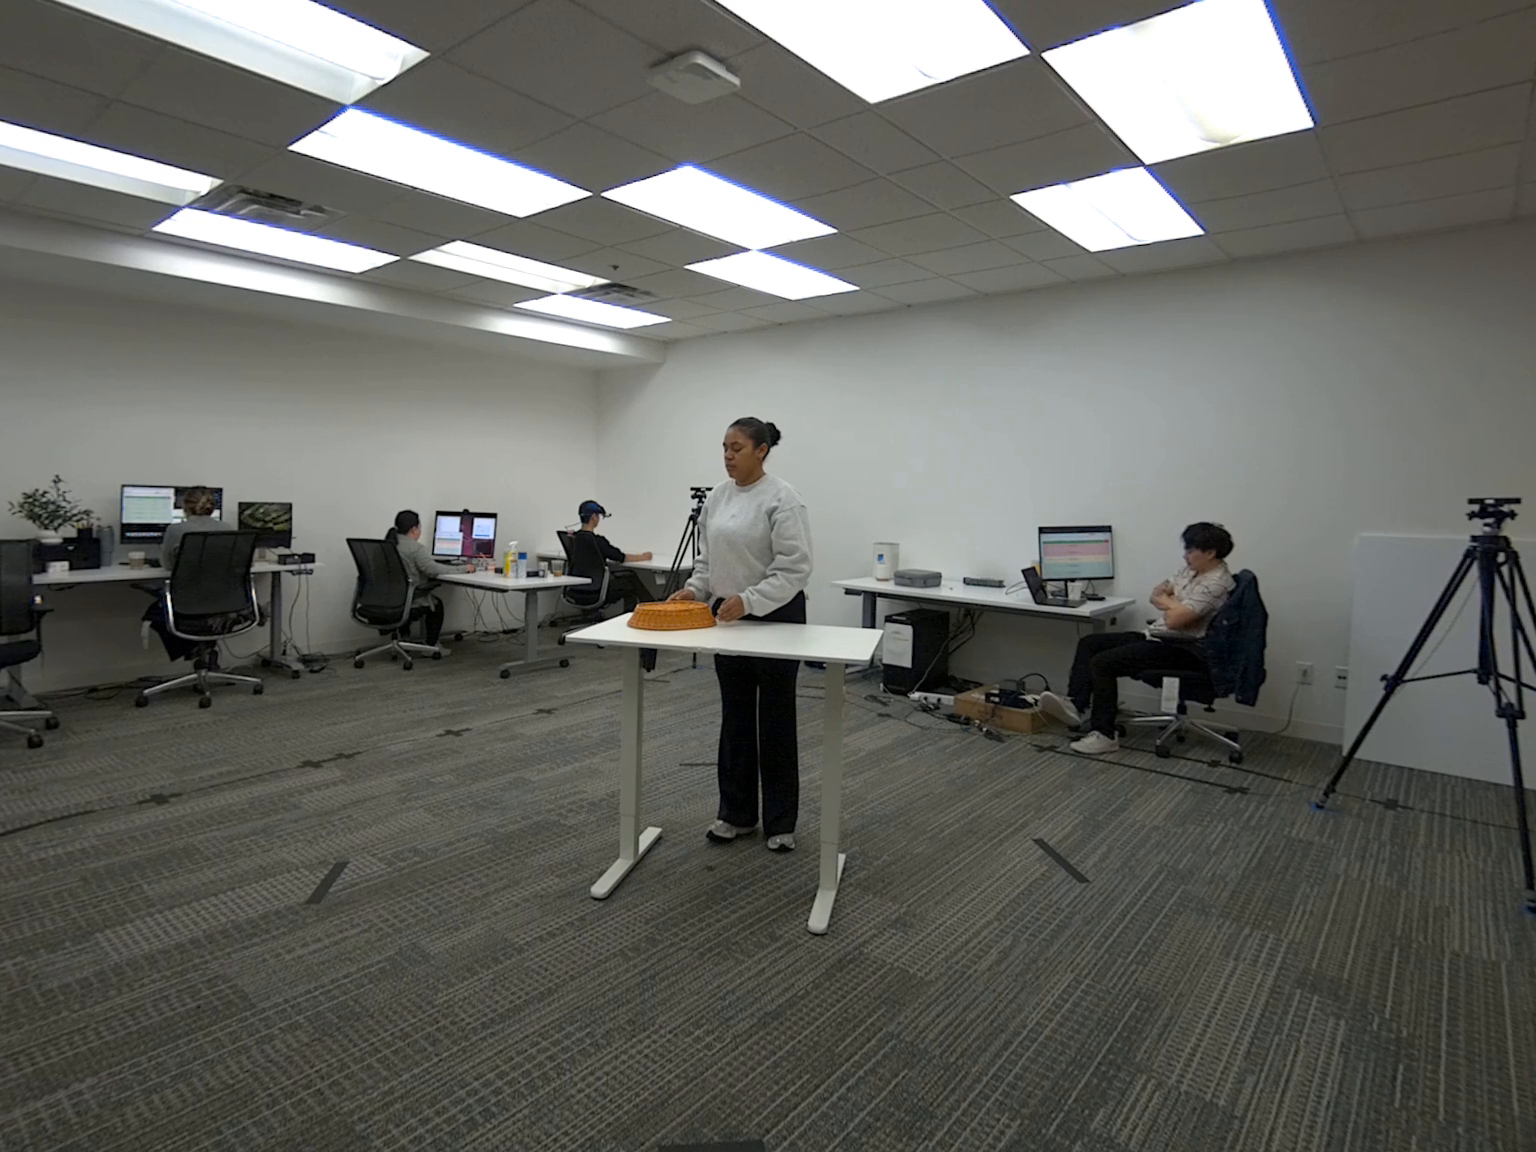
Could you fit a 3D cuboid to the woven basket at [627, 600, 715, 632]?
[{"bbox_3d":[-0.359,0.138,3.148,0.340,0.073,0.261,-3,8,-39],"label":"woven basket"}]
